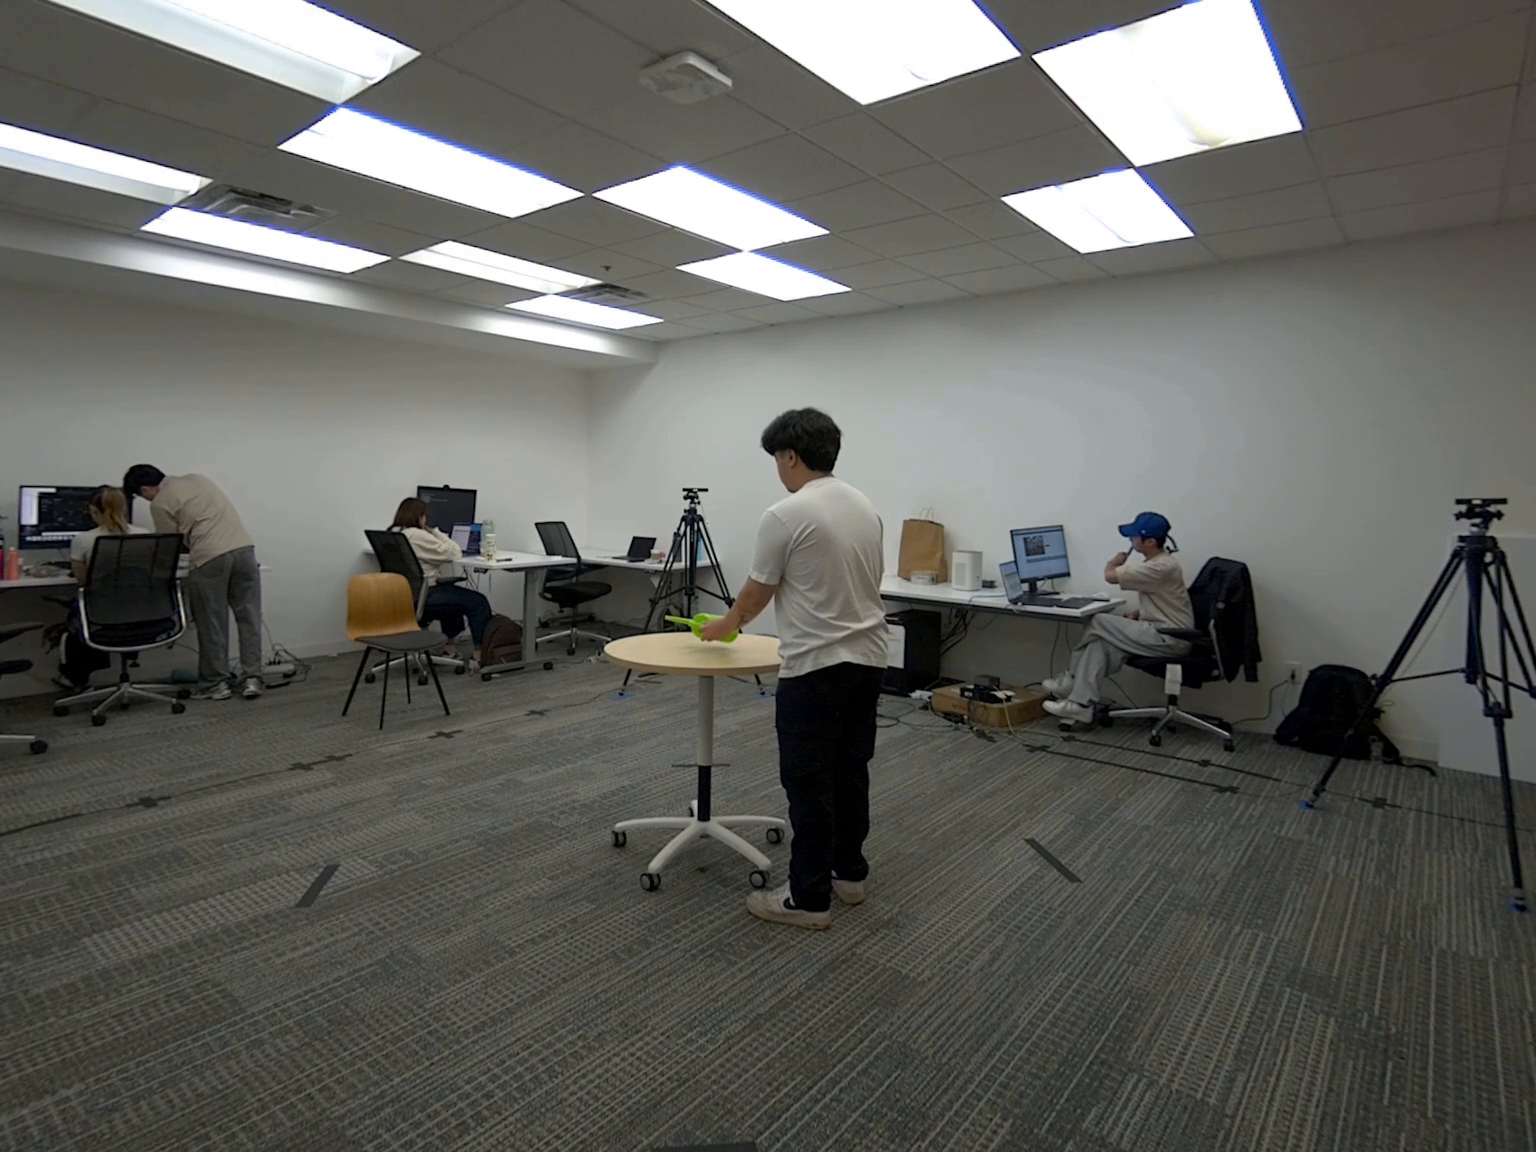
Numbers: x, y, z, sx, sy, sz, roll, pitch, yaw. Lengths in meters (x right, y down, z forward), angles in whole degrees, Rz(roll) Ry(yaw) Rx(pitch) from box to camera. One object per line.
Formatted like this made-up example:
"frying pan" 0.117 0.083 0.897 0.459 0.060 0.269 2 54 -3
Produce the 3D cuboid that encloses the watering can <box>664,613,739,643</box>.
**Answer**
"watering can" -0.246 0.174 3.200 0.170 0.097 0.290 12 10 -40
